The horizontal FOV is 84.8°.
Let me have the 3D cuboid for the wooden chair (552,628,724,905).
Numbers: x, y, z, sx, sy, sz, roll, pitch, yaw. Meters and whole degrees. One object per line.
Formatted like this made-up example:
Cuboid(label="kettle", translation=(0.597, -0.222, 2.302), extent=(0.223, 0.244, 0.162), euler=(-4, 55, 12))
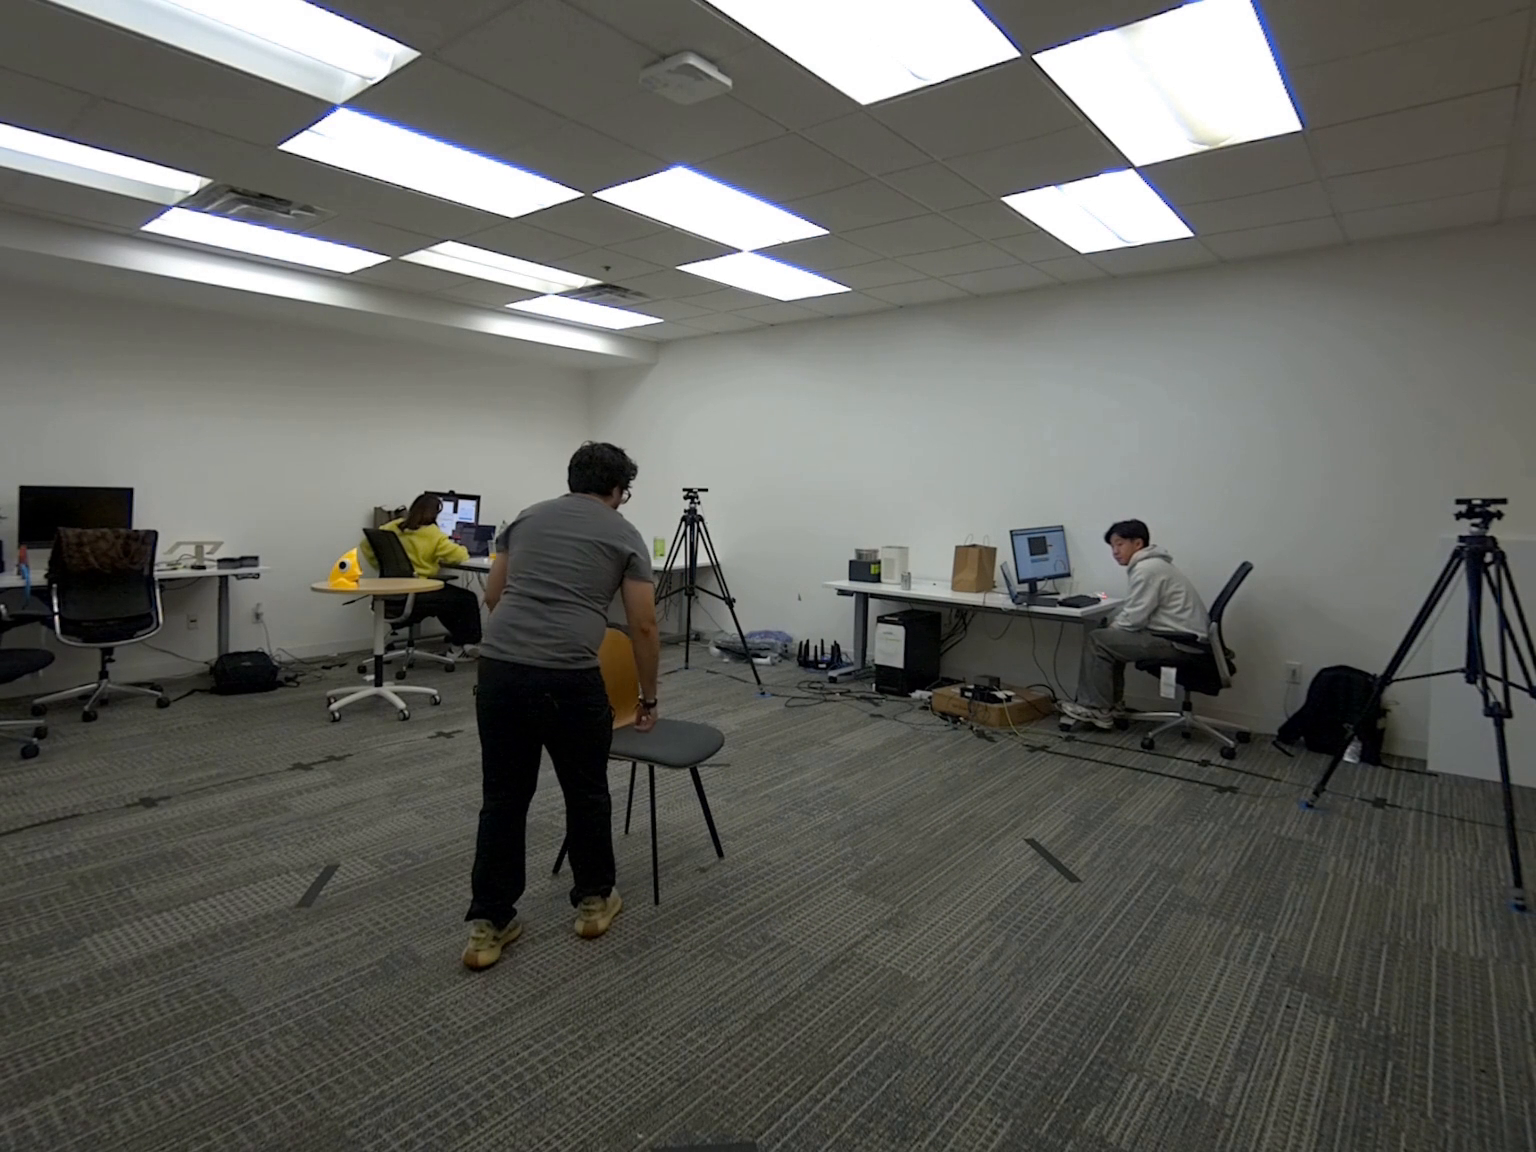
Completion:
Cuboid(label="wooden chair", translation=(-0.455, 0.635, 3.102), extent=(0.537, 0.877, 0.466), euler=(-2, 1, 28))
